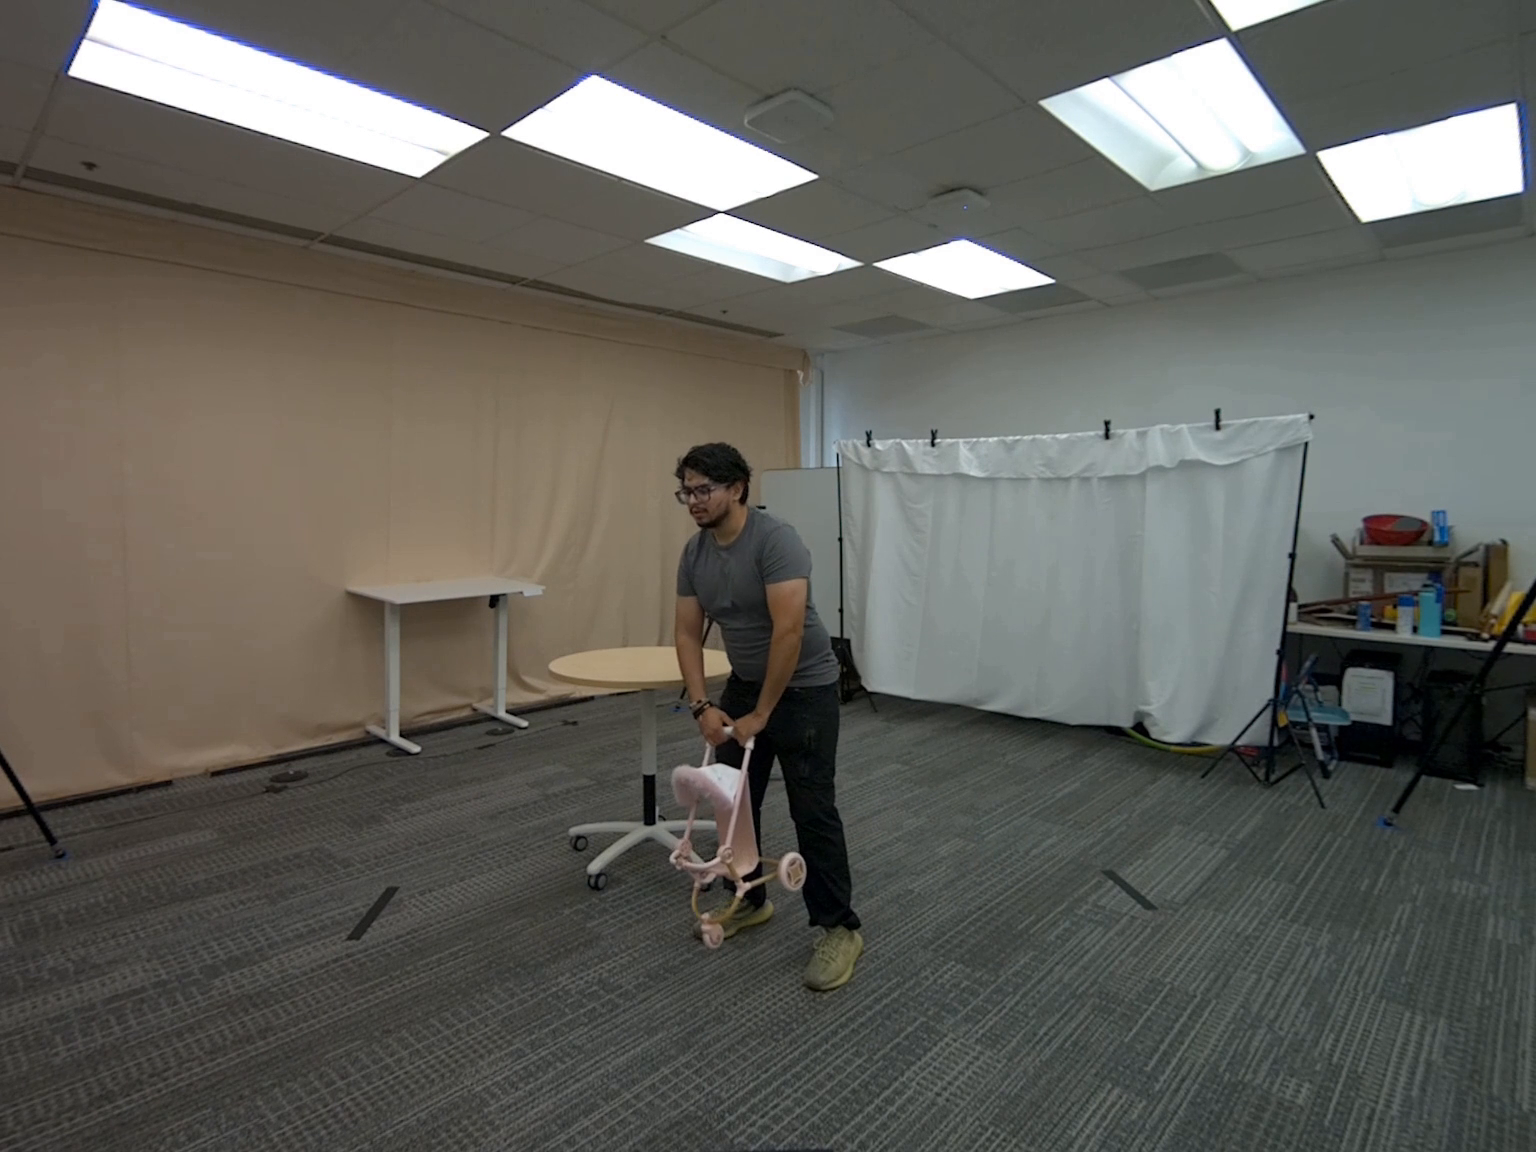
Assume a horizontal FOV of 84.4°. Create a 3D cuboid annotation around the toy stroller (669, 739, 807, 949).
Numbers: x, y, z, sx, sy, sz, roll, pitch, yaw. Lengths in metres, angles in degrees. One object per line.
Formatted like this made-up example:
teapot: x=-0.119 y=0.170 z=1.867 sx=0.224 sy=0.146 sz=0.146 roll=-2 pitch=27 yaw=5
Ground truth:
toy stroller: x=-0.130 y=0.752 z=2.446 sx=0.333 sy=0.533 sz=0.289 roll=-19 pitch=6 yaw=-39
